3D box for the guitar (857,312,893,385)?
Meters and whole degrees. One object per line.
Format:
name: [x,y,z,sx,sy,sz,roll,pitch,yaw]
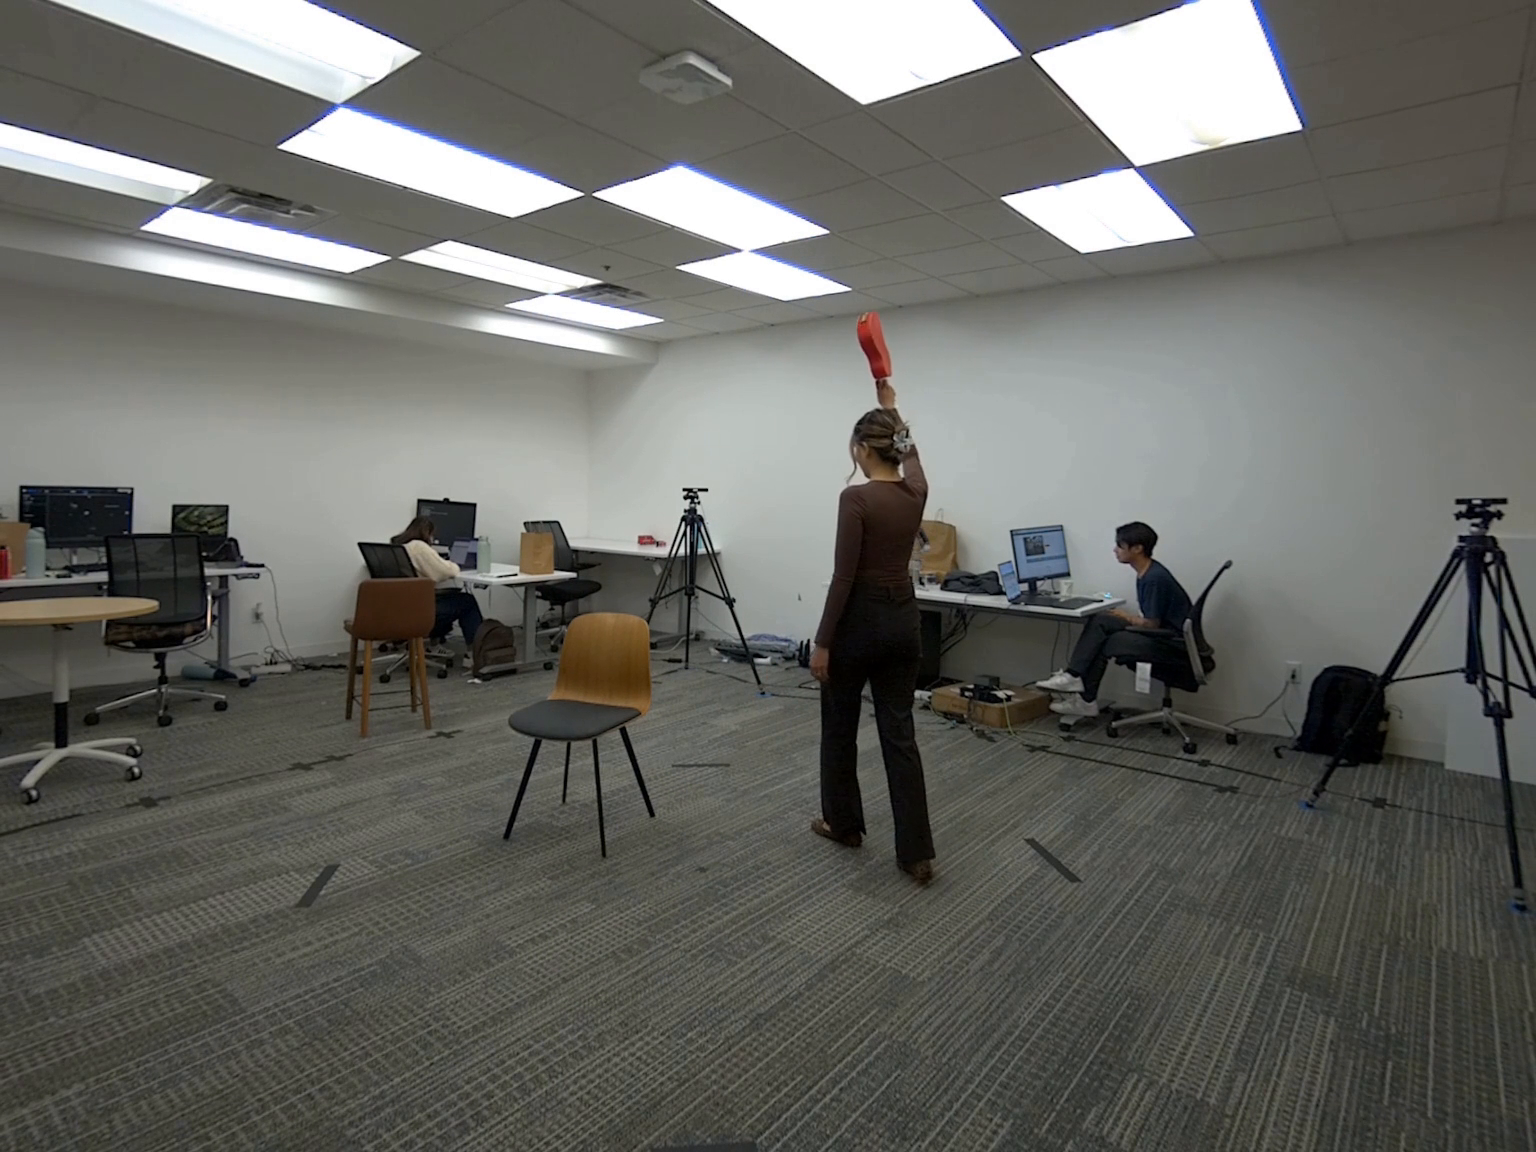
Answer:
guitar: [0.472,-0.880,3.567,0.072,0.478,0.197,-9,43,23]
